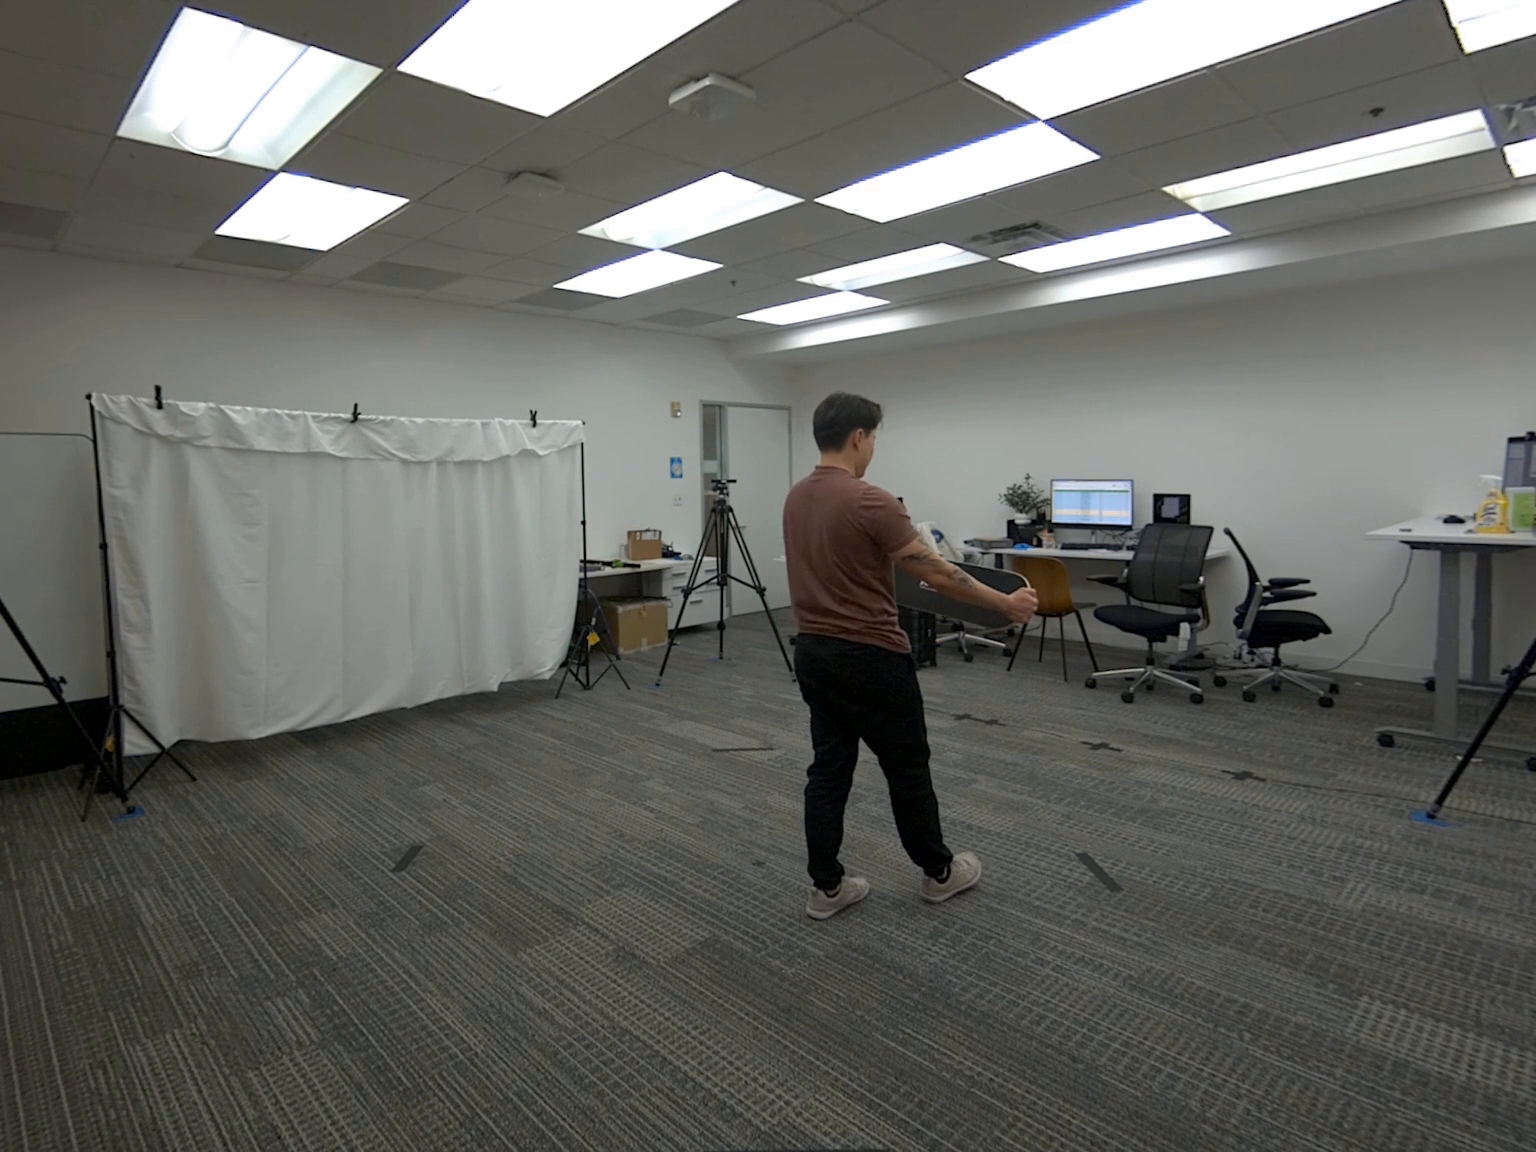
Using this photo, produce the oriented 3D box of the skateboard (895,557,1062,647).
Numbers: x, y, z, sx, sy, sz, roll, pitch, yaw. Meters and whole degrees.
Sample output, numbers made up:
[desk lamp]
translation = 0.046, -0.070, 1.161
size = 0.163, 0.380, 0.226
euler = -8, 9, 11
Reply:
[skateboard]
translation = 0.631, 0.049, 2.967
size = 0.107, 0.194, 0.809
euler = 23, -4, -31
